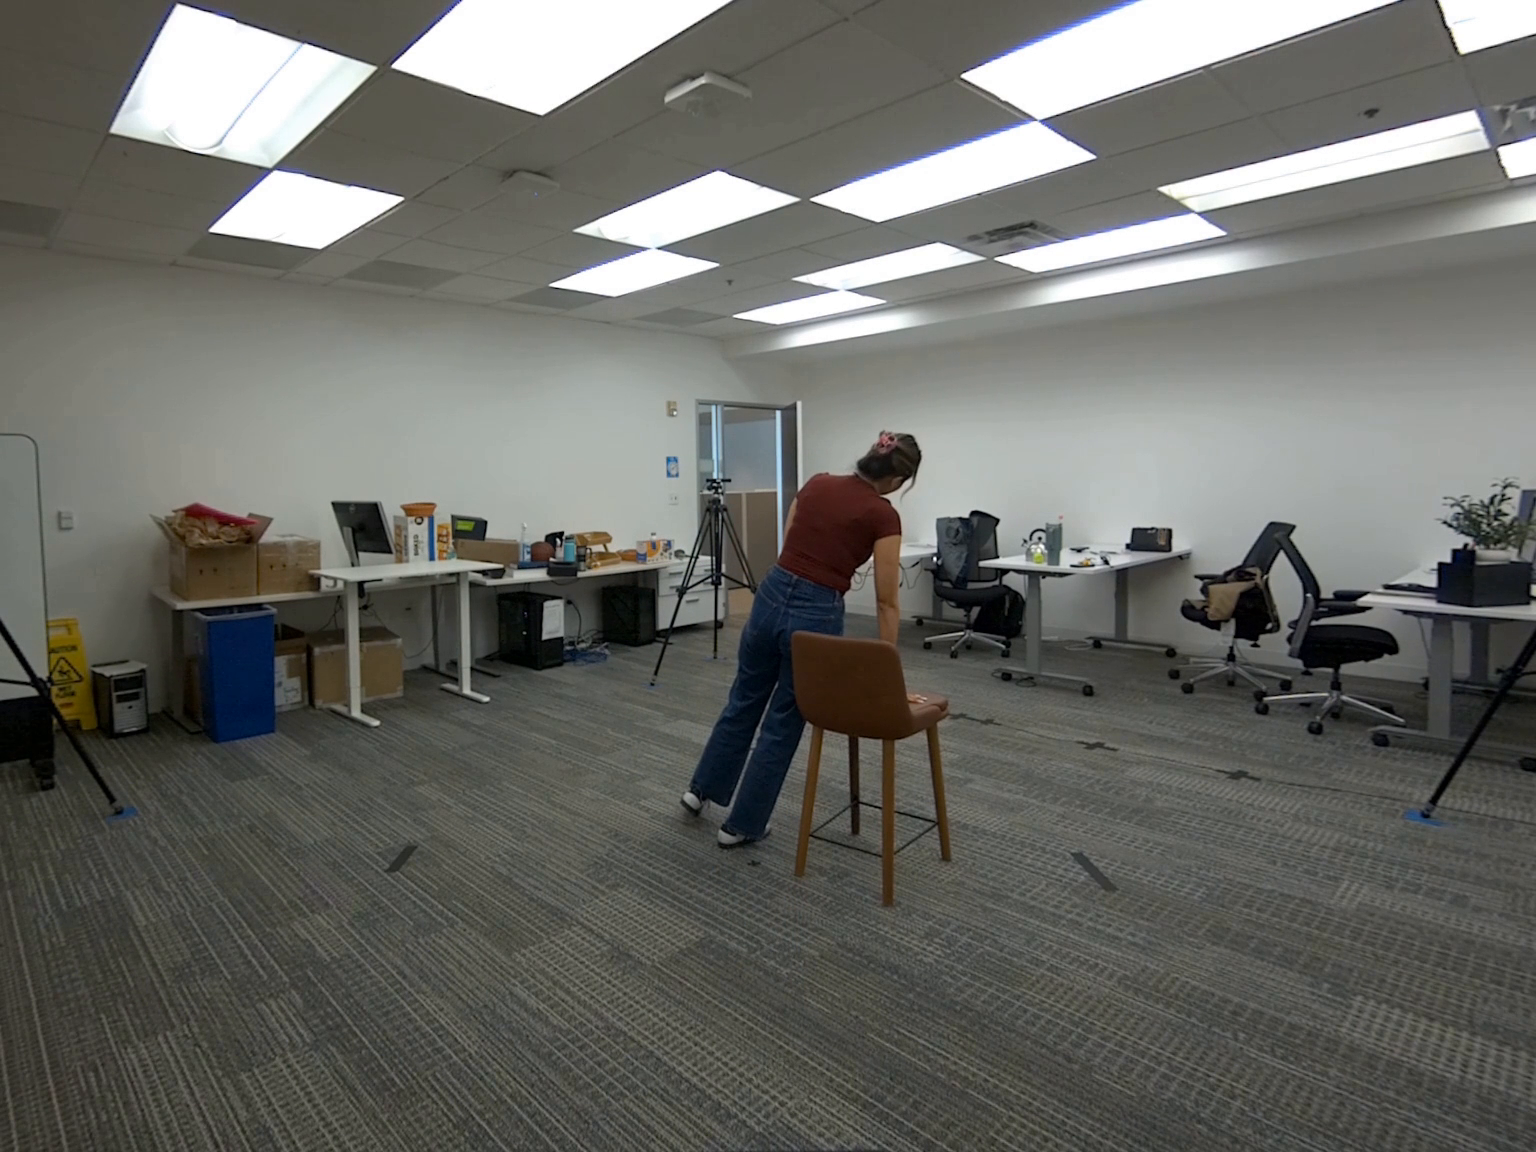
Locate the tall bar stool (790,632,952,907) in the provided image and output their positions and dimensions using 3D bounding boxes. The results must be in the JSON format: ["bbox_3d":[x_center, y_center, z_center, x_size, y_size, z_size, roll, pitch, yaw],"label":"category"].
[{"bbox_3d":[0.374,0.617,3.026,0.470,0.885,0.456,3,7,37],"label":"tall bar stool"}]
